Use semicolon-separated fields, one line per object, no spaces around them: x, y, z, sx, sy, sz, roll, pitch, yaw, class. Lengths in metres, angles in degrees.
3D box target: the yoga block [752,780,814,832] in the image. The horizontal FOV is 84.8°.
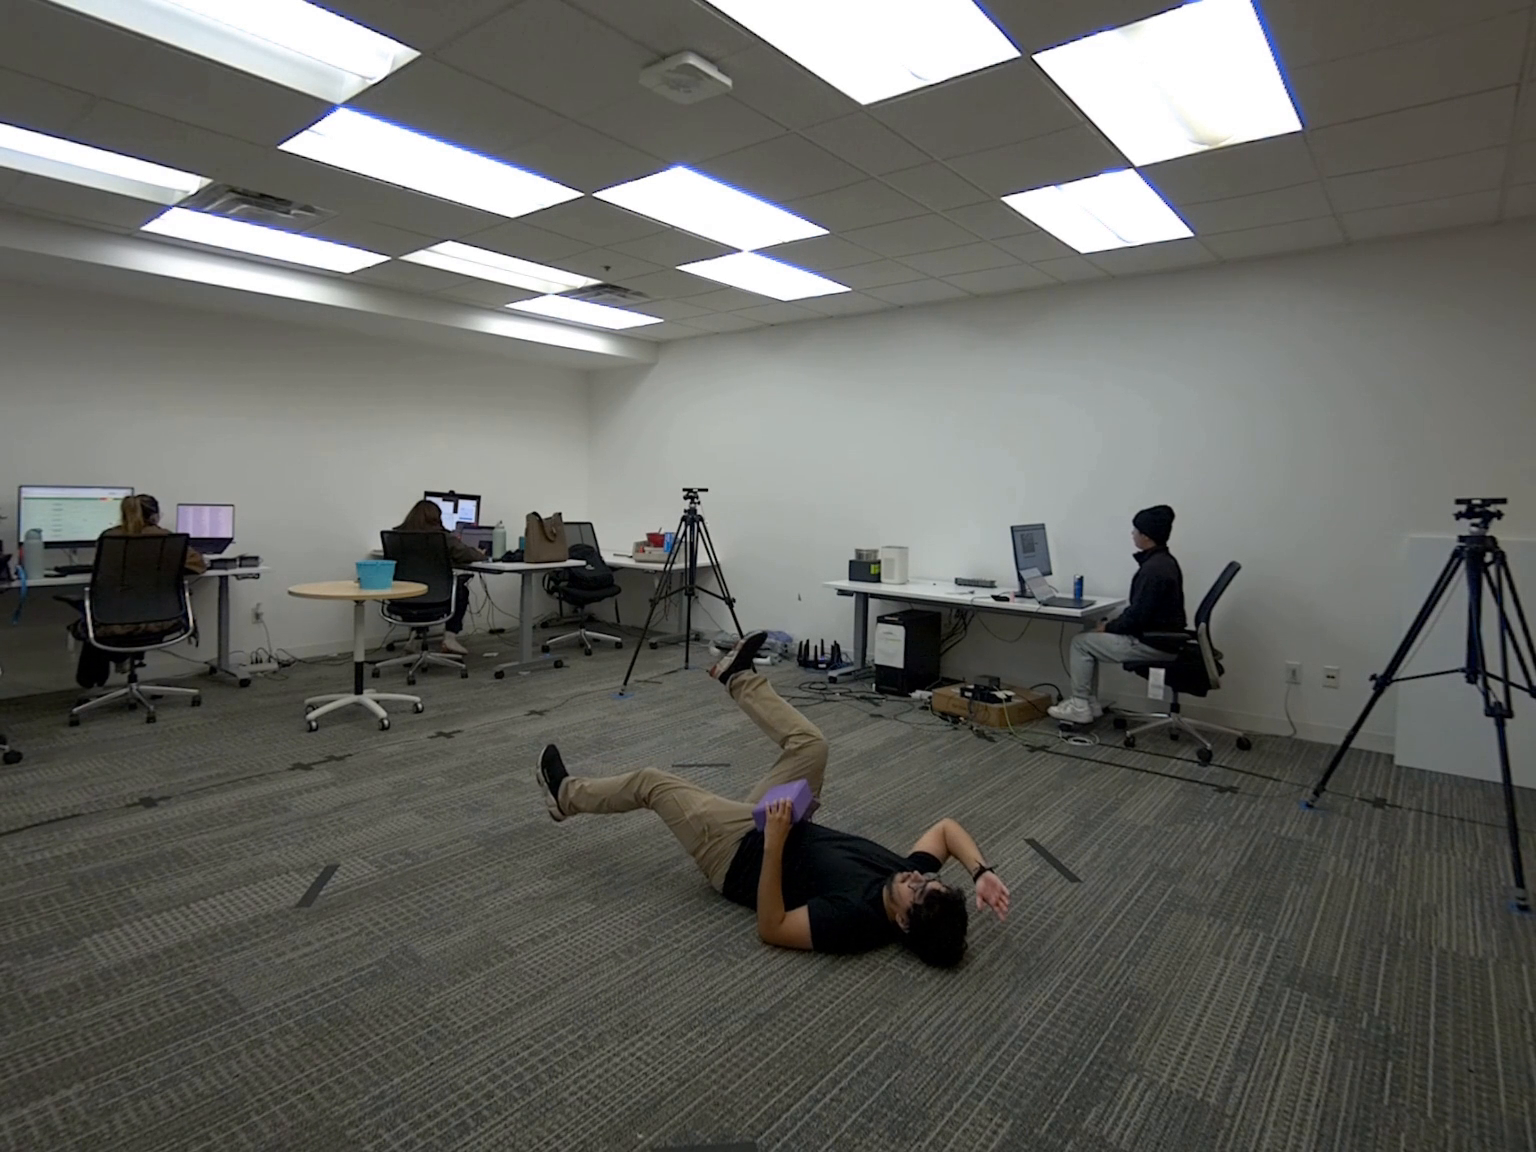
0.036;0.770;2.839;0.150;0.076;0.227;-16;1;14;yoga block
